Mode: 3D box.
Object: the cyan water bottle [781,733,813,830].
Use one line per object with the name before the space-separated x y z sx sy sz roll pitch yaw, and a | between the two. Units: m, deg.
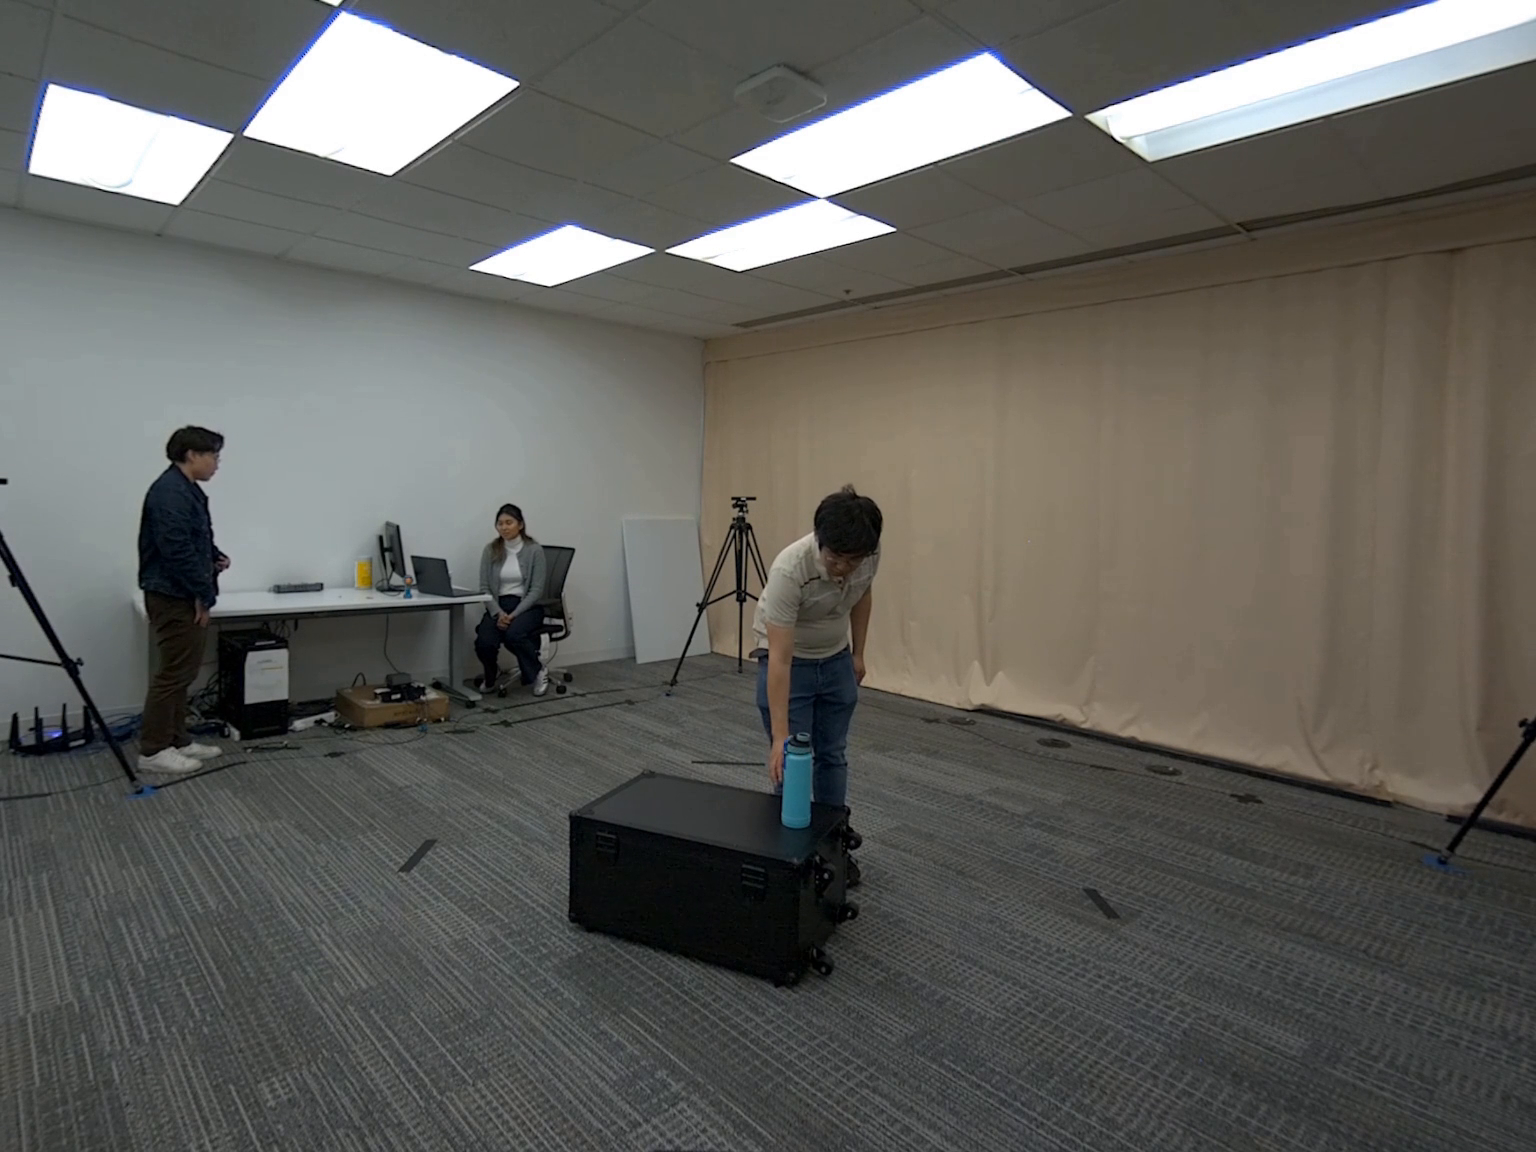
cyan water bottle | 0.081 0.640 2.638 0.092 0.283 0.092 1 3 -1
